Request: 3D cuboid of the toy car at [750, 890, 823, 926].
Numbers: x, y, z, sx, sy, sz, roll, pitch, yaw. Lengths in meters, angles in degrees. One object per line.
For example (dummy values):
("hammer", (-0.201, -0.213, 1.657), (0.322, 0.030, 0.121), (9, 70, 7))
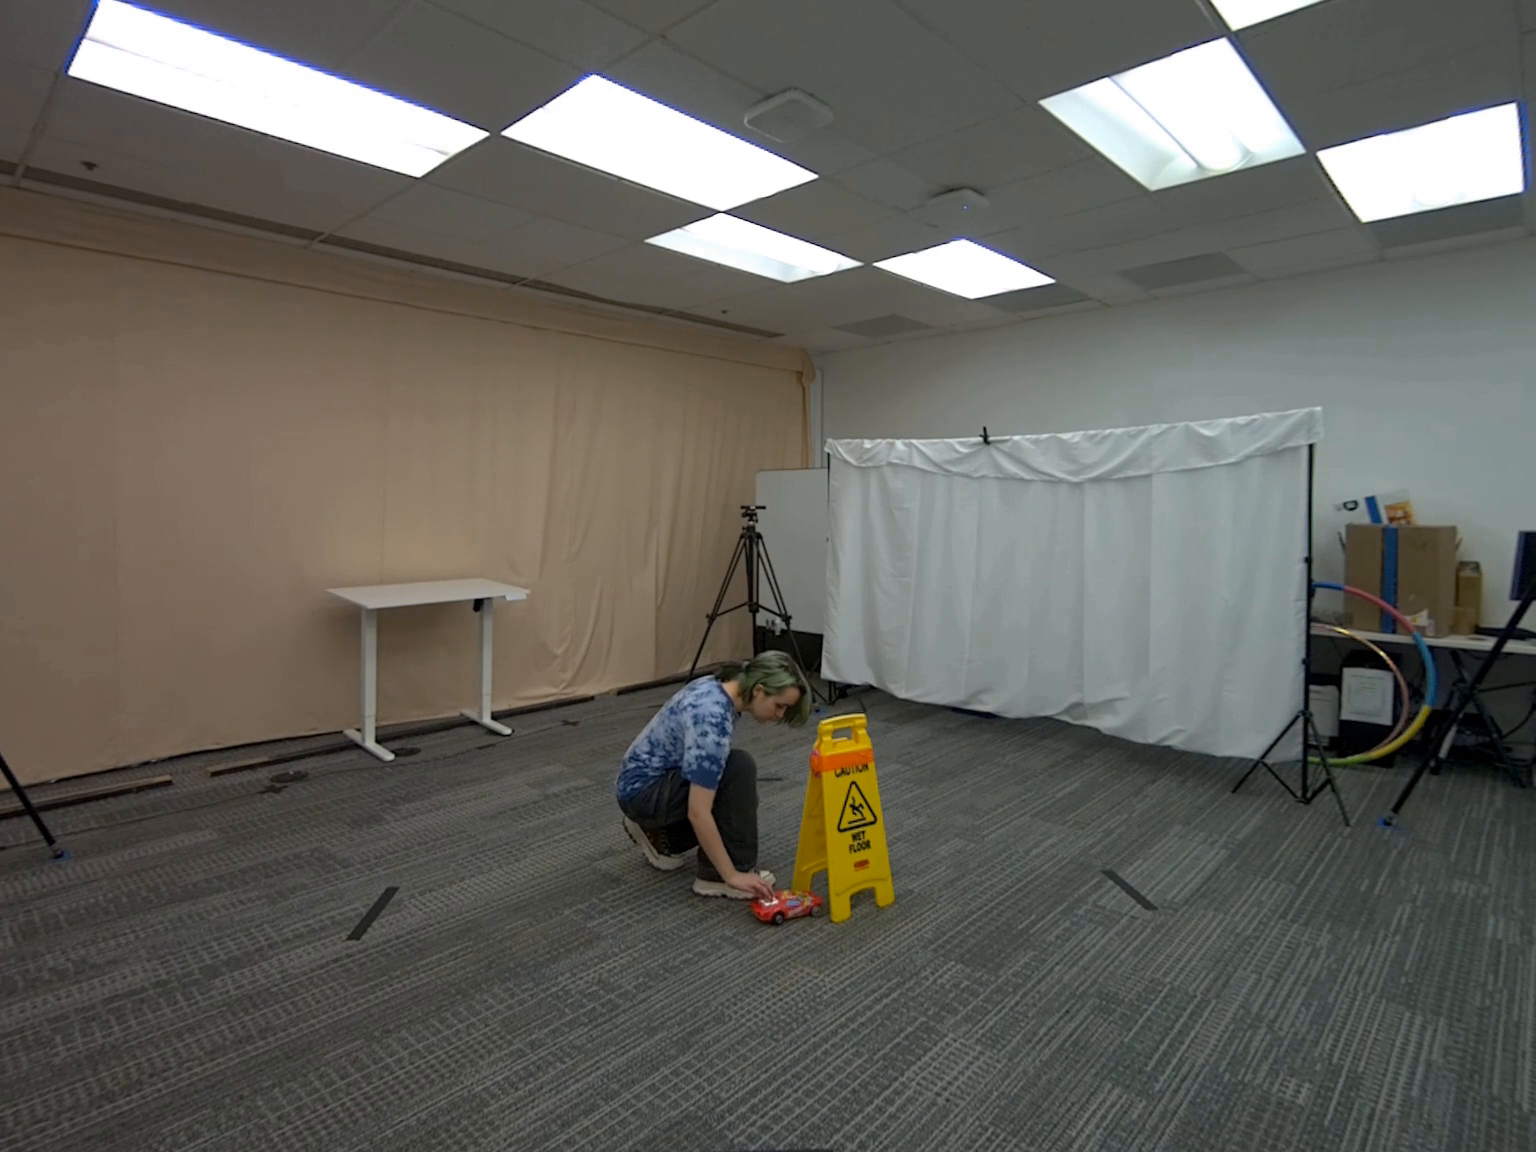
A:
("toy car", (0.062, 1.128, 2.862), (0.248, 0.083, 0.133), (10, -2, -24))
